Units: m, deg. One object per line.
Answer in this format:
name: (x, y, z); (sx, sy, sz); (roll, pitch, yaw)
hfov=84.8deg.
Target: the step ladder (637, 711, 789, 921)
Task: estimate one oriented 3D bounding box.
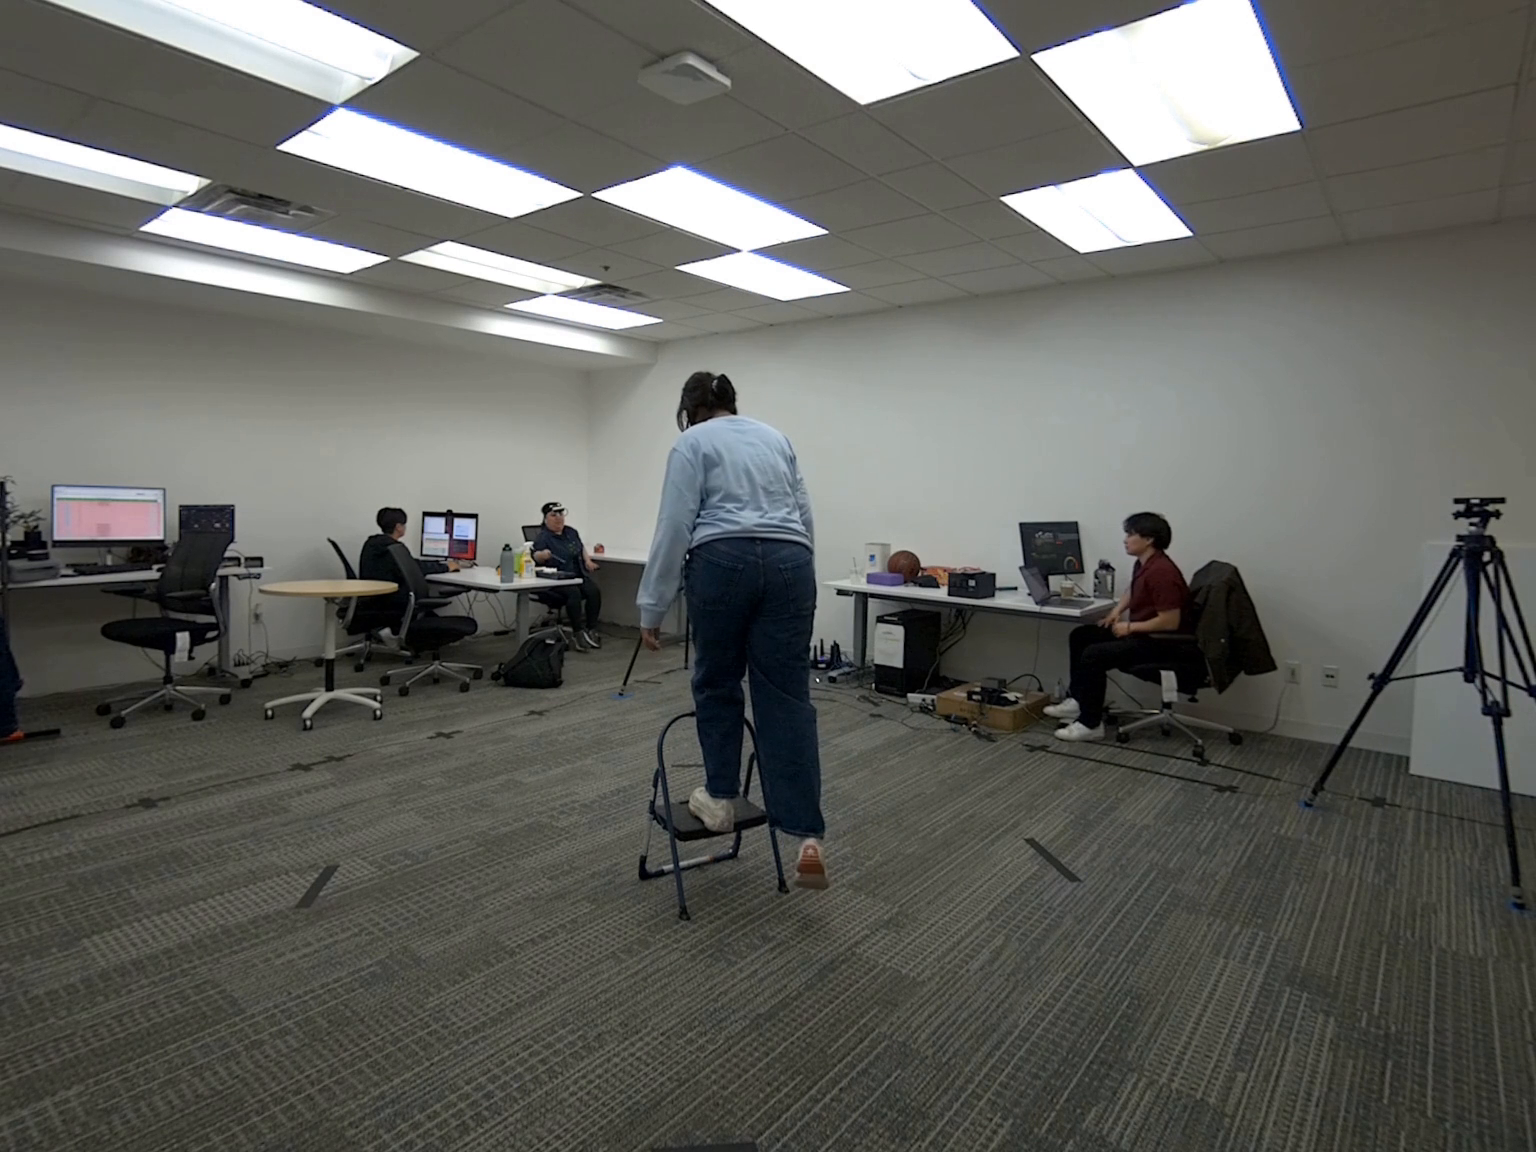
step ladder: (-0.201, 0.782, 2.975); (0.418, 0.604, 0.360); (-2, 4, -34)
